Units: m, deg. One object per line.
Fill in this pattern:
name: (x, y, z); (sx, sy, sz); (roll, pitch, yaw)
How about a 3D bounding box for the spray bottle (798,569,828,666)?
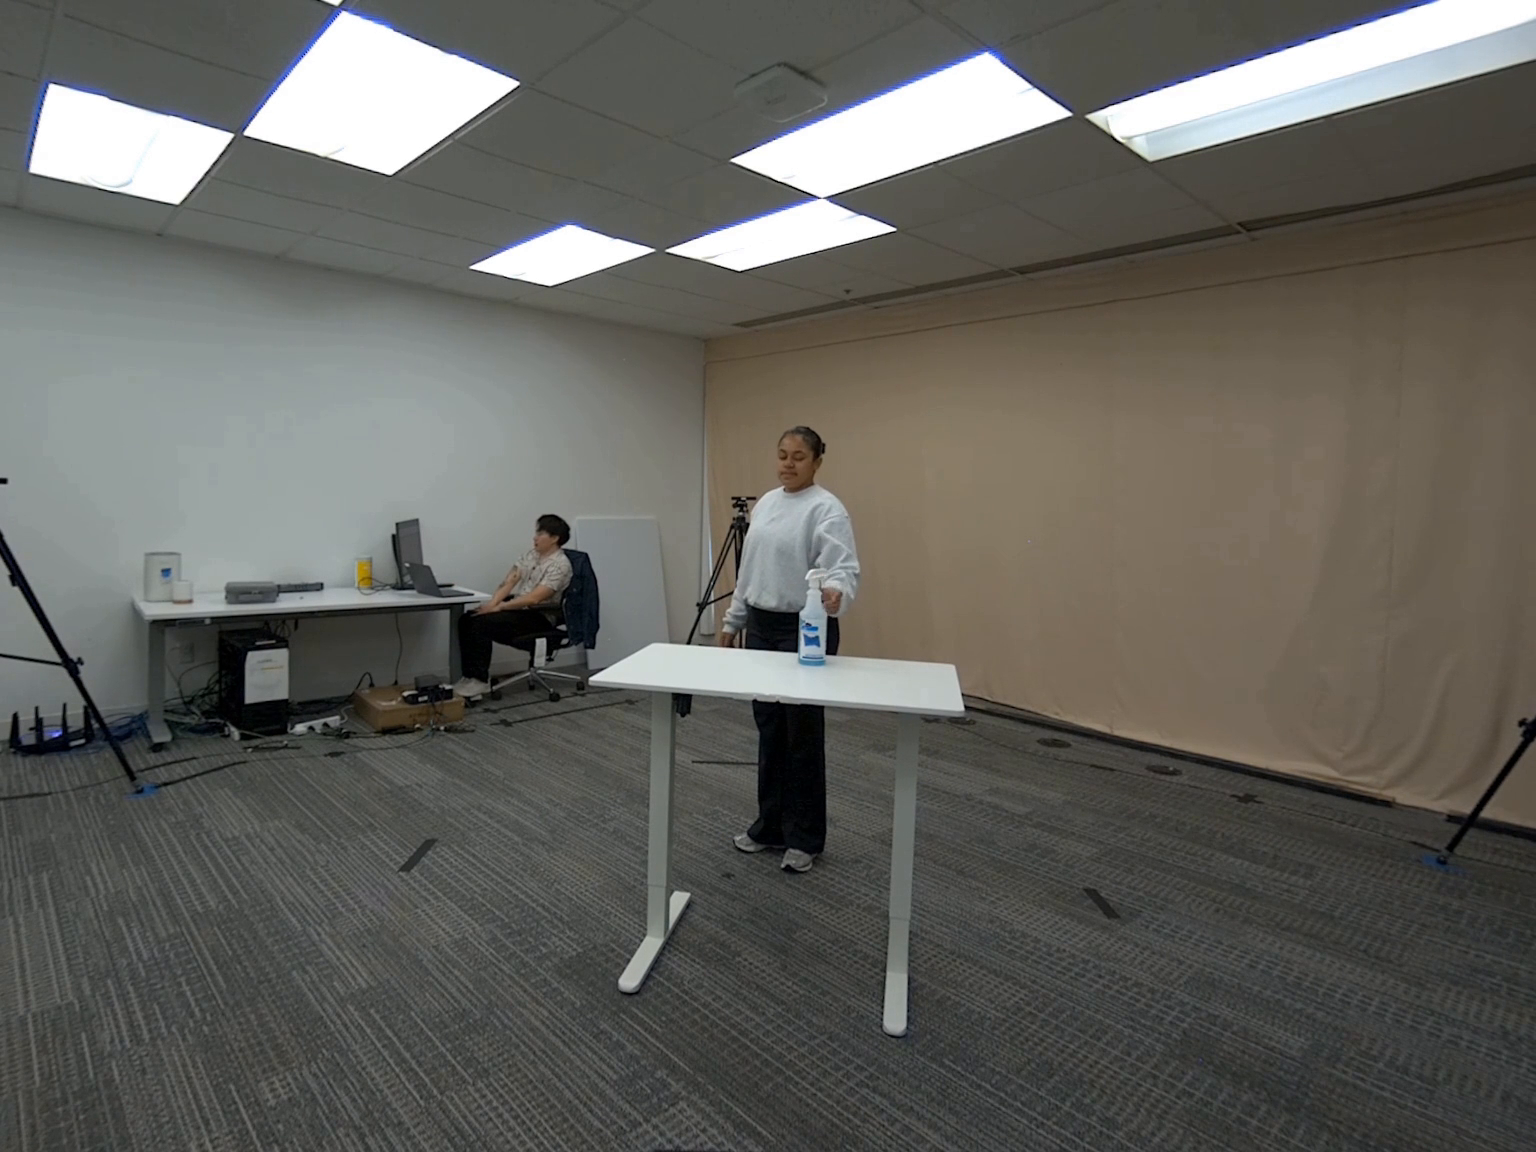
spray bottle: (0.131, 0.129, 2.624); (0.089, 0.297, 0.088); (3, 2, -19)
